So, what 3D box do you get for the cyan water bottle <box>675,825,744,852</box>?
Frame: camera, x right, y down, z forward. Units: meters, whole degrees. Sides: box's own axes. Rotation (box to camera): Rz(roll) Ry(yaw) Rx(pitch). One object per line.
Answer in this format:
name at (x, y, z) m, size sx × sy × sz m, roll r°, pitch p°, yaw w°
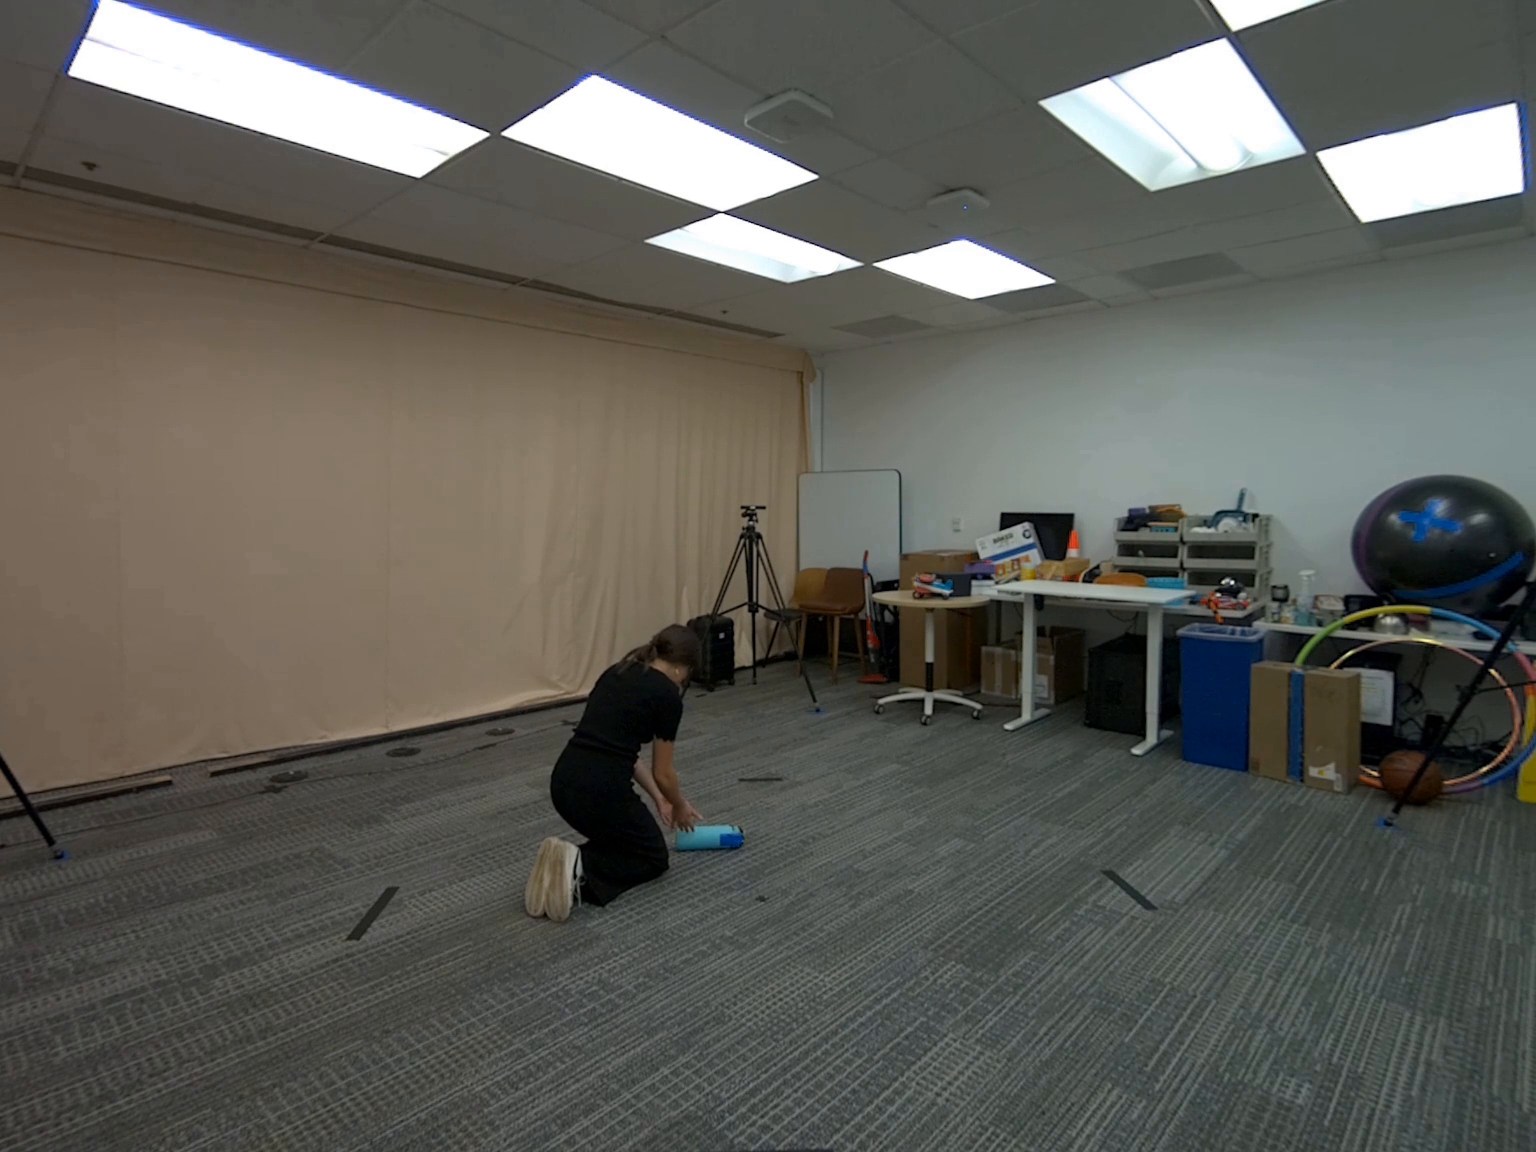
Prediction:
cyan water bottle at (-0.231, 1.061, 3.420) m, size 0.282 × 0.092 × 0.093 m, roll -2°, pitch 4°, yaw -4°
